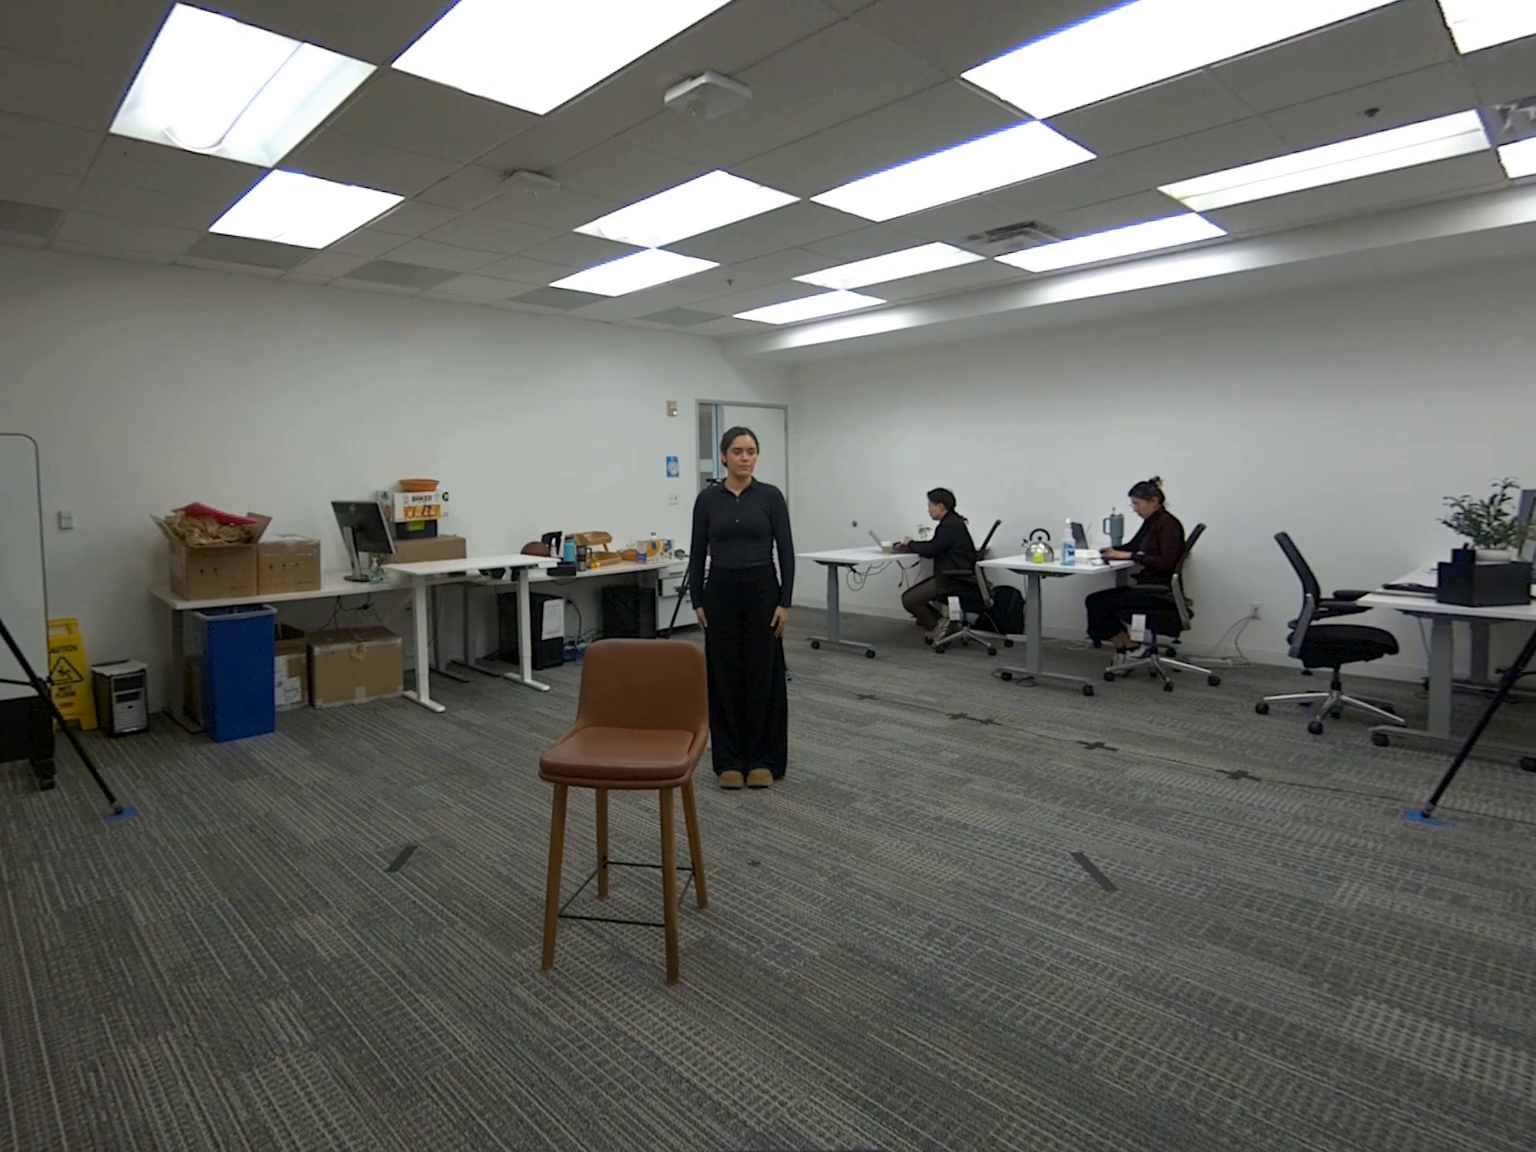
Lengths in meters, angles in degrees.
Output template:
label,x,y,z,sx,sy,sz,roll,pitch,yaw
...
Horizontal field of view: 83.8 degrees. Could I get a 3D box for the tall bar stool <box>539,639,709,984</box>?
label,x,y,z,sx,sy,sz,roll,pitch,yaw
tall bar stool,-0.419,0.674,2.610,0.462,0.887,0.463,0,3,11
